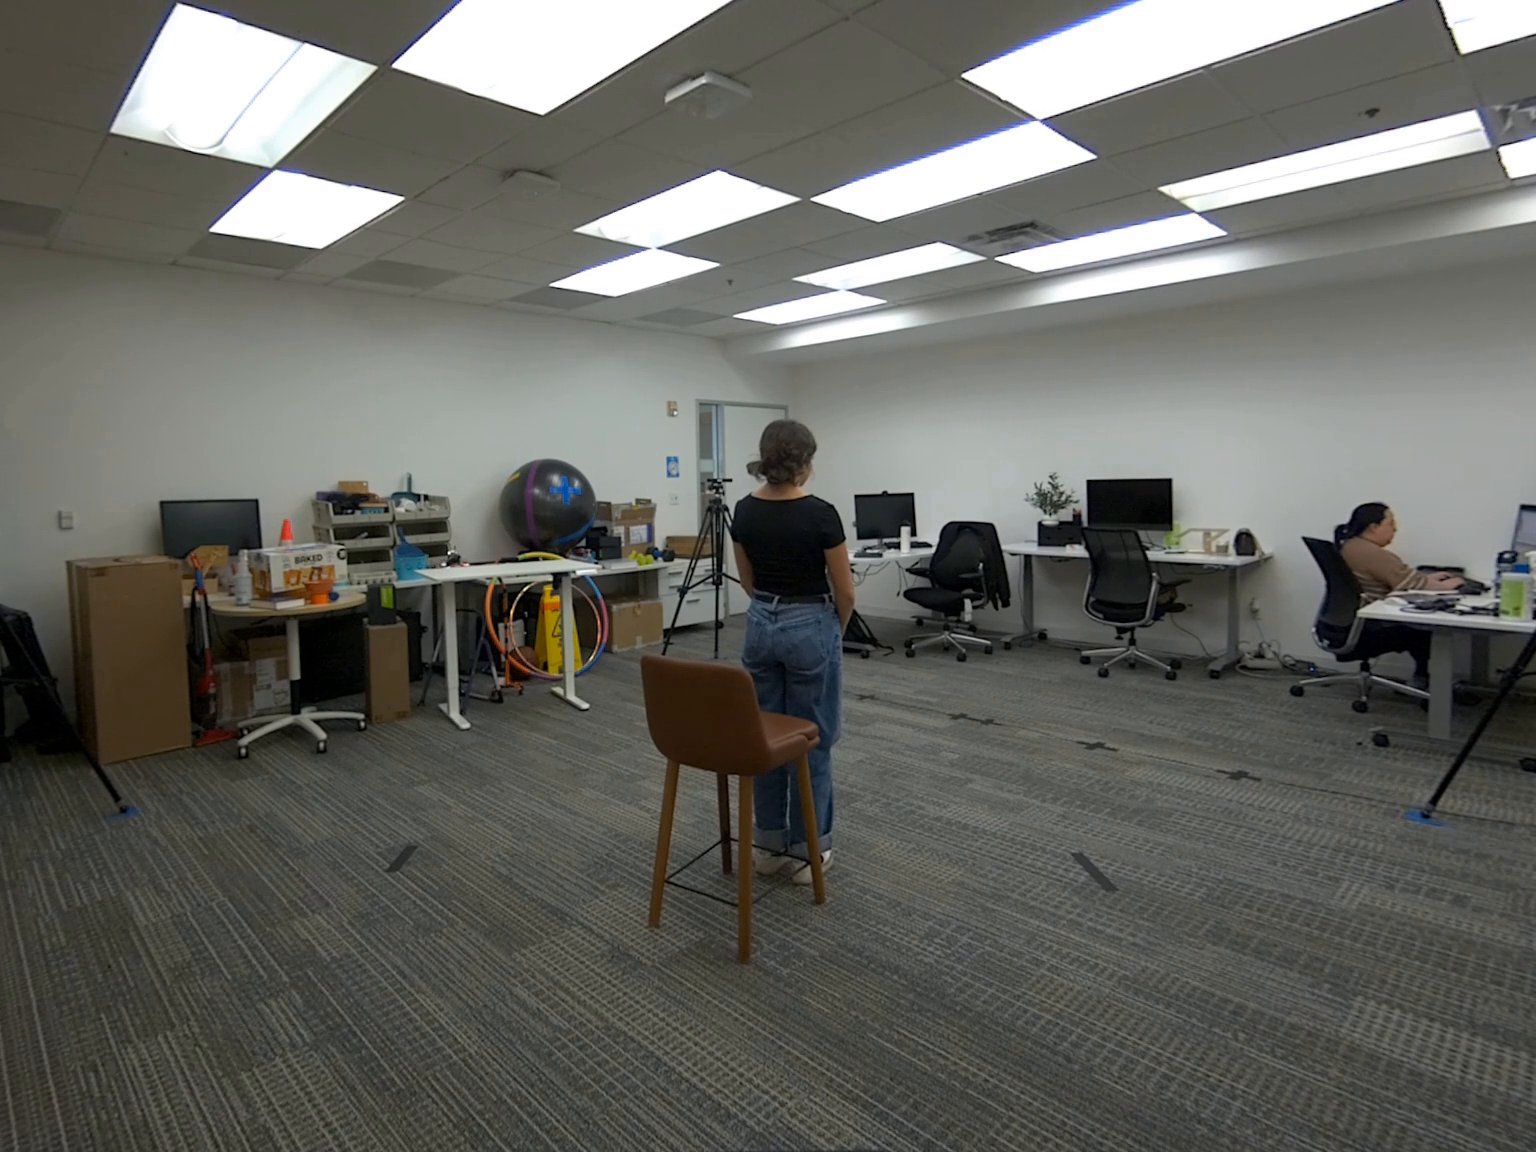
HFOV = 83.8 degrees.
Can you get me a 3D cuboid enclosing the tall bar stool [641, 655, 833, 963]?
[{"bbox_3d":[-0.113,0.657,2.722,0.469,0.885,0.457,2,7,35],"label":"tall bar stool"}]
